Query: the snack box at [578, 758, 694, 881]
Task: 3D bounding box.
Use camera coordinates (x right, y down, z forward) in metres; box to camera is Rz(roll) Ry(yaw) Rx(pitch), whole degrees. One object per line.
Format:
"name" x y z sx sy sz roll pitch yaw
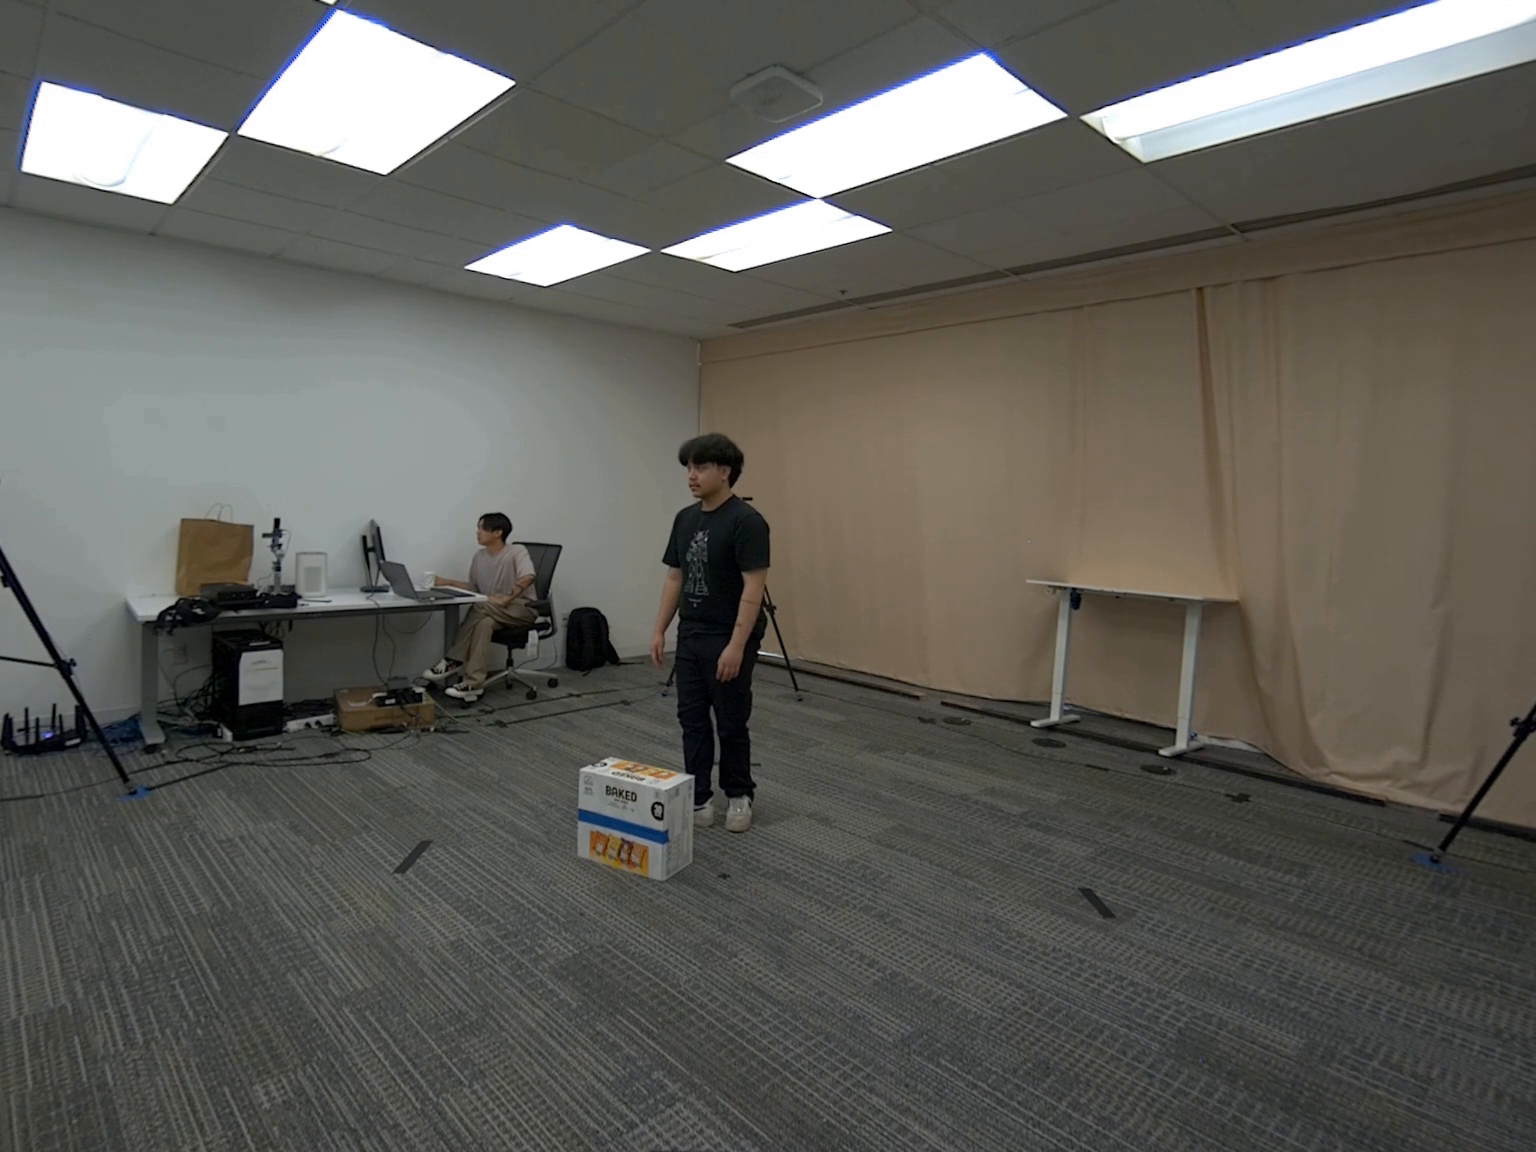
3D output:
"snack box" -0.514 0.918 3.220 0.414 0.339 0.202 4 4 29
